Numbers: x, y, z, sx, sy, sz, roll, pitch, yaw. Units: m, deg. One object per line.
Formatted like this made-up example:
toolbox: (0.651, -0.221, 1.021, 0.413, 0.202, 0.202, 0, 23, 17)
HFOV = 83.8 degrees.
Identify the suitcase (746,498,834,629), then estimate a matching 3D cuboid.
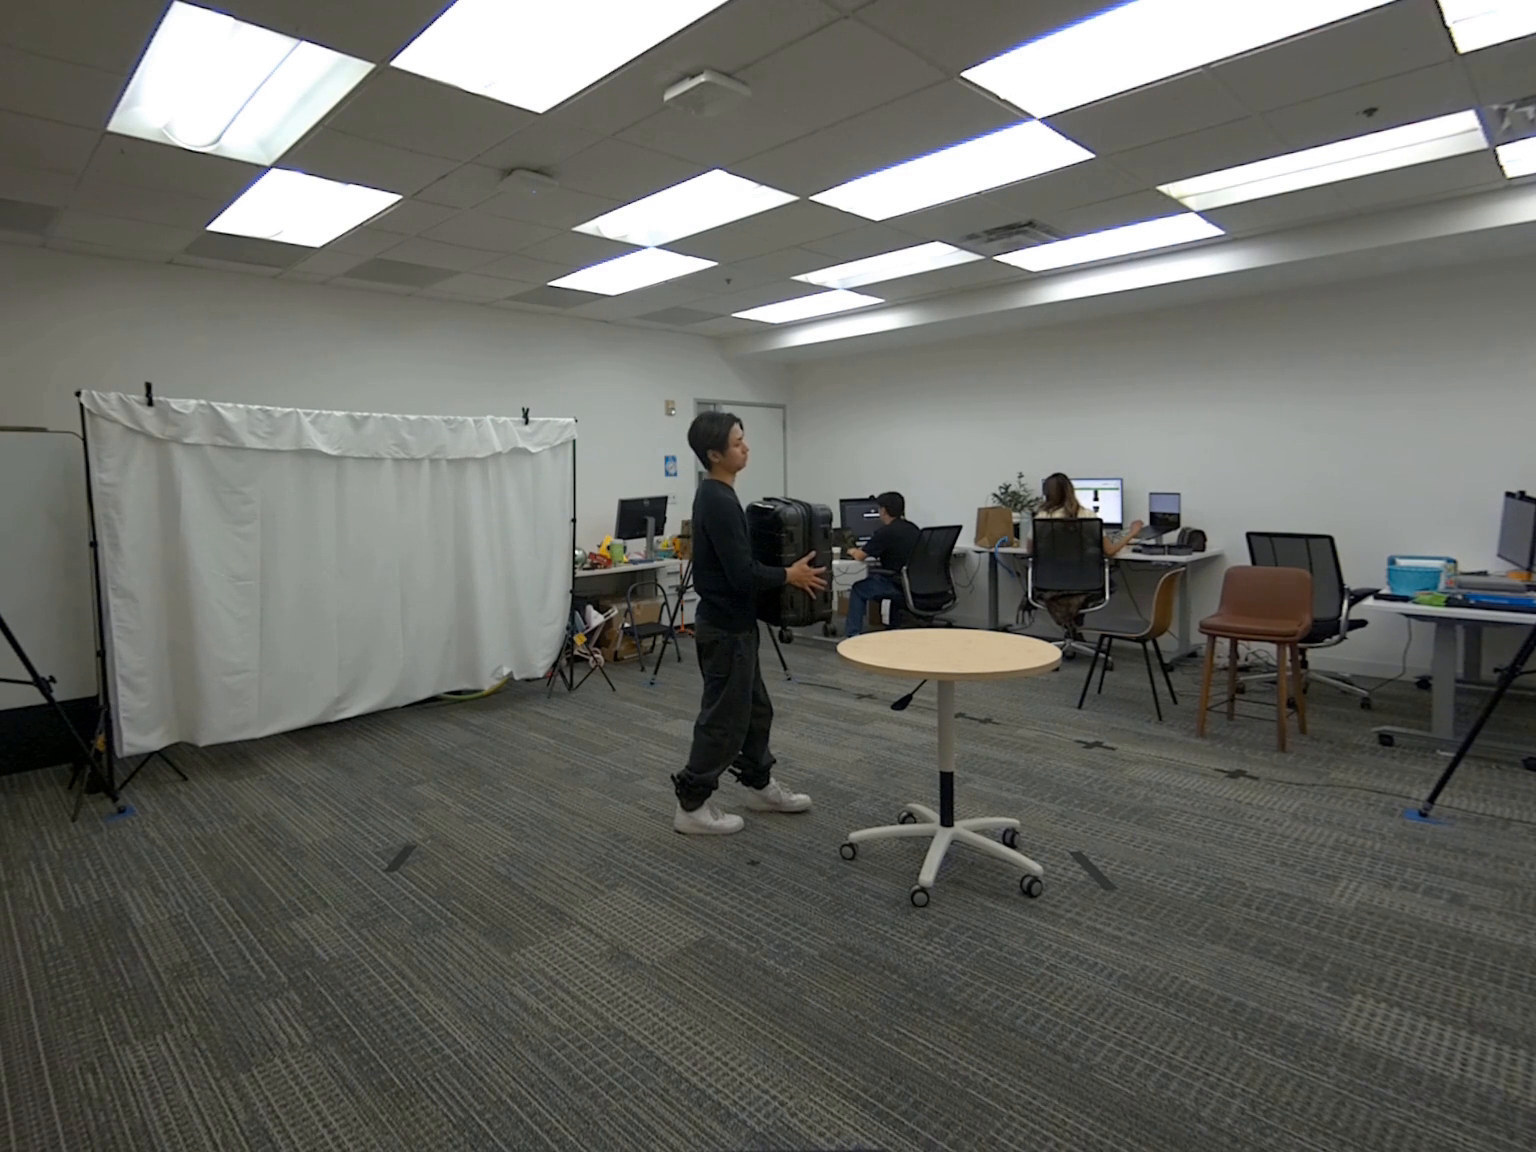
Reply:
suitcase: (0.082, -0.051, 3.506, 0.243, 0.546, 0.386, -4, 8, -27)
